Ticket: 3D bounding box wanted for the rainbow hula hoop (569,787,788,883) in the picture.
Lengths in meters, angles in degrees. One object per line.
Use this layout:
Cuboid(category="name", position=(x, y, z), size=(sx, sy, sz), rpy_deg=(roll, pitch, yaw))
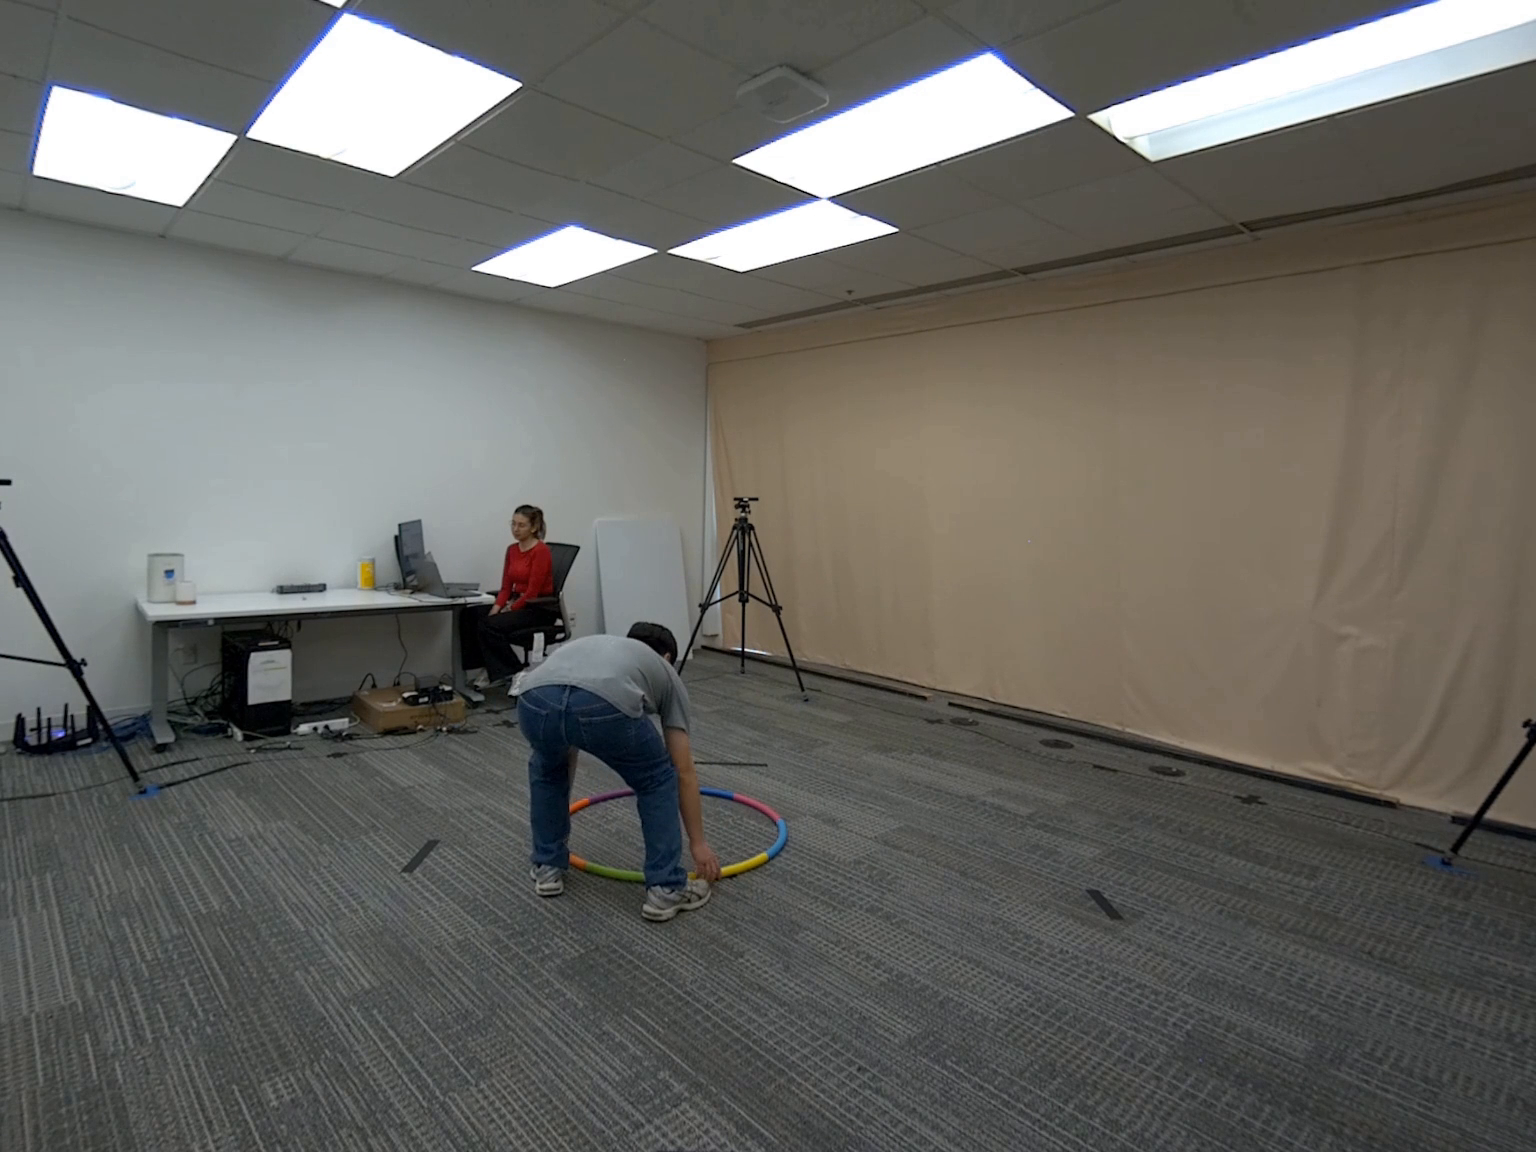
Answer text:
Cuboid(category="rainbow hula hoop", position=(-0.431, 1.032, 3.507), size=(0.978, 0.035, 0.982), rpy_deg=(1, 5, -1))
